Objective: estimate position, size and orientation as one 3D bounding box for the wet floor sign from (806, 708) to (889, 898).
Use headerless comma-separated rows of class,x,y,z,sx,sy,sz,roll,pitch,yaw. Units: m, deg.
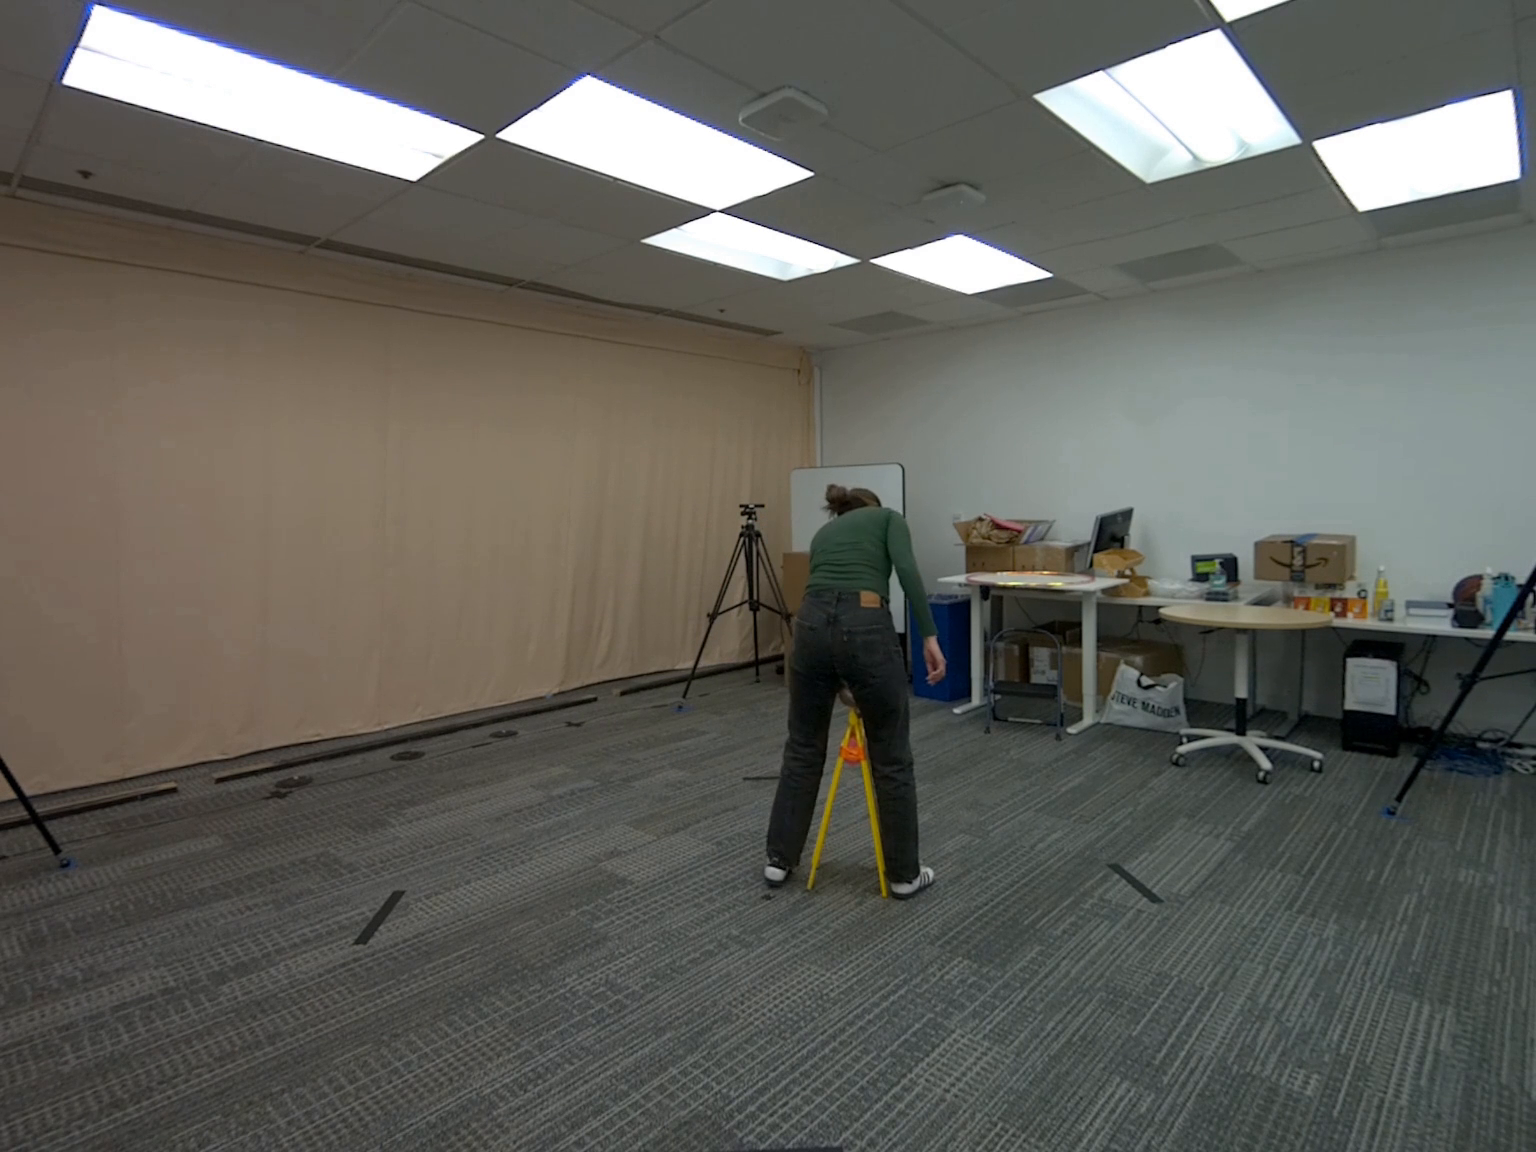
wet floor sign,0.312,0.795,3.102,0.293,0.645,0.280,1,3,8
